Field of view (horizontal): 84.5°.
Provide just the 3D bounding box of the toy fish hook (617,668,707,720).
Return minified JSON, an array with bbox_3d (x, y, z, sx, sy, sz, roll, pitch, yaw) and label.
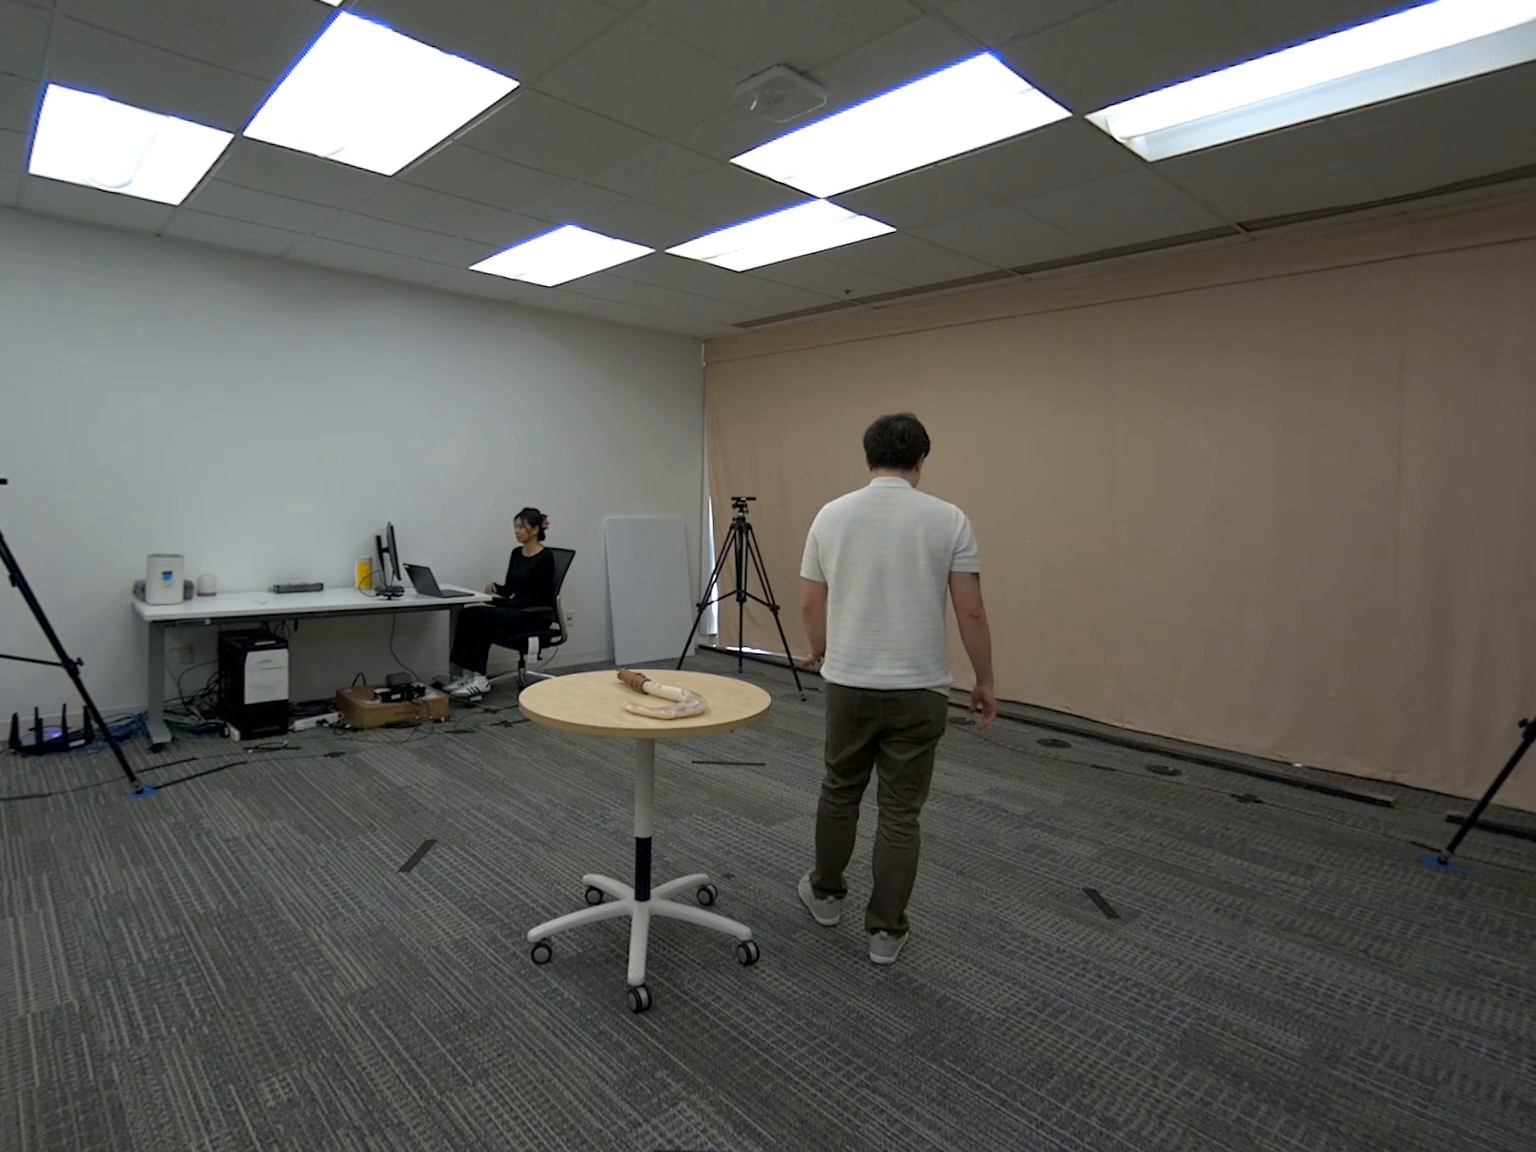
[{"bbox_3d":[-0.378,0.352,2.522,0.220,0.048,0.519,-2,6,-35],"label":"toy fish hook"}]
